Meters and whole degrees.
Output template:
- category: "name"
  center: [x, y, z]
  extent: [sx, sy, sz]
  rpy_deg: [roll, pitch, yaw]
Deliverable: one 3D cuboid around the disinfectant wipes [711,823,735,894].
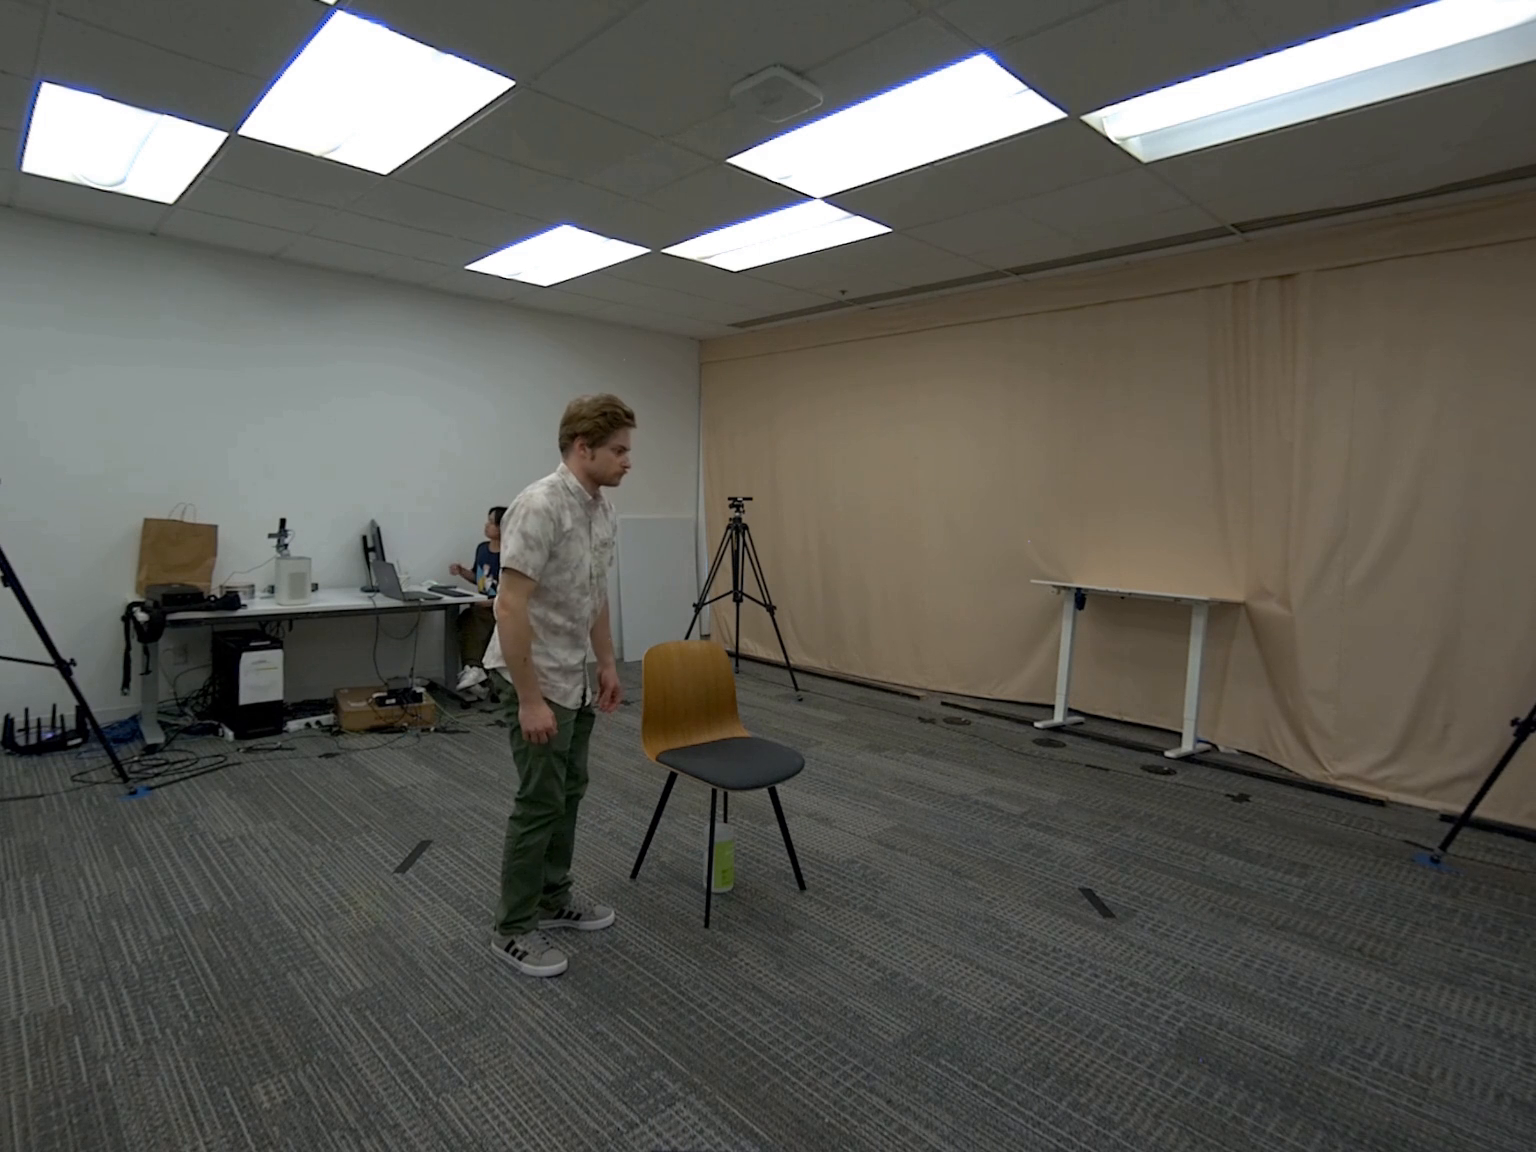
- category: "disinfectant wipes"
  center: [-0.189, 1.020, 3.008]
  extent: [0.118, 0.217, 0.118]
  rpy_deg: [1, 1, -1]
